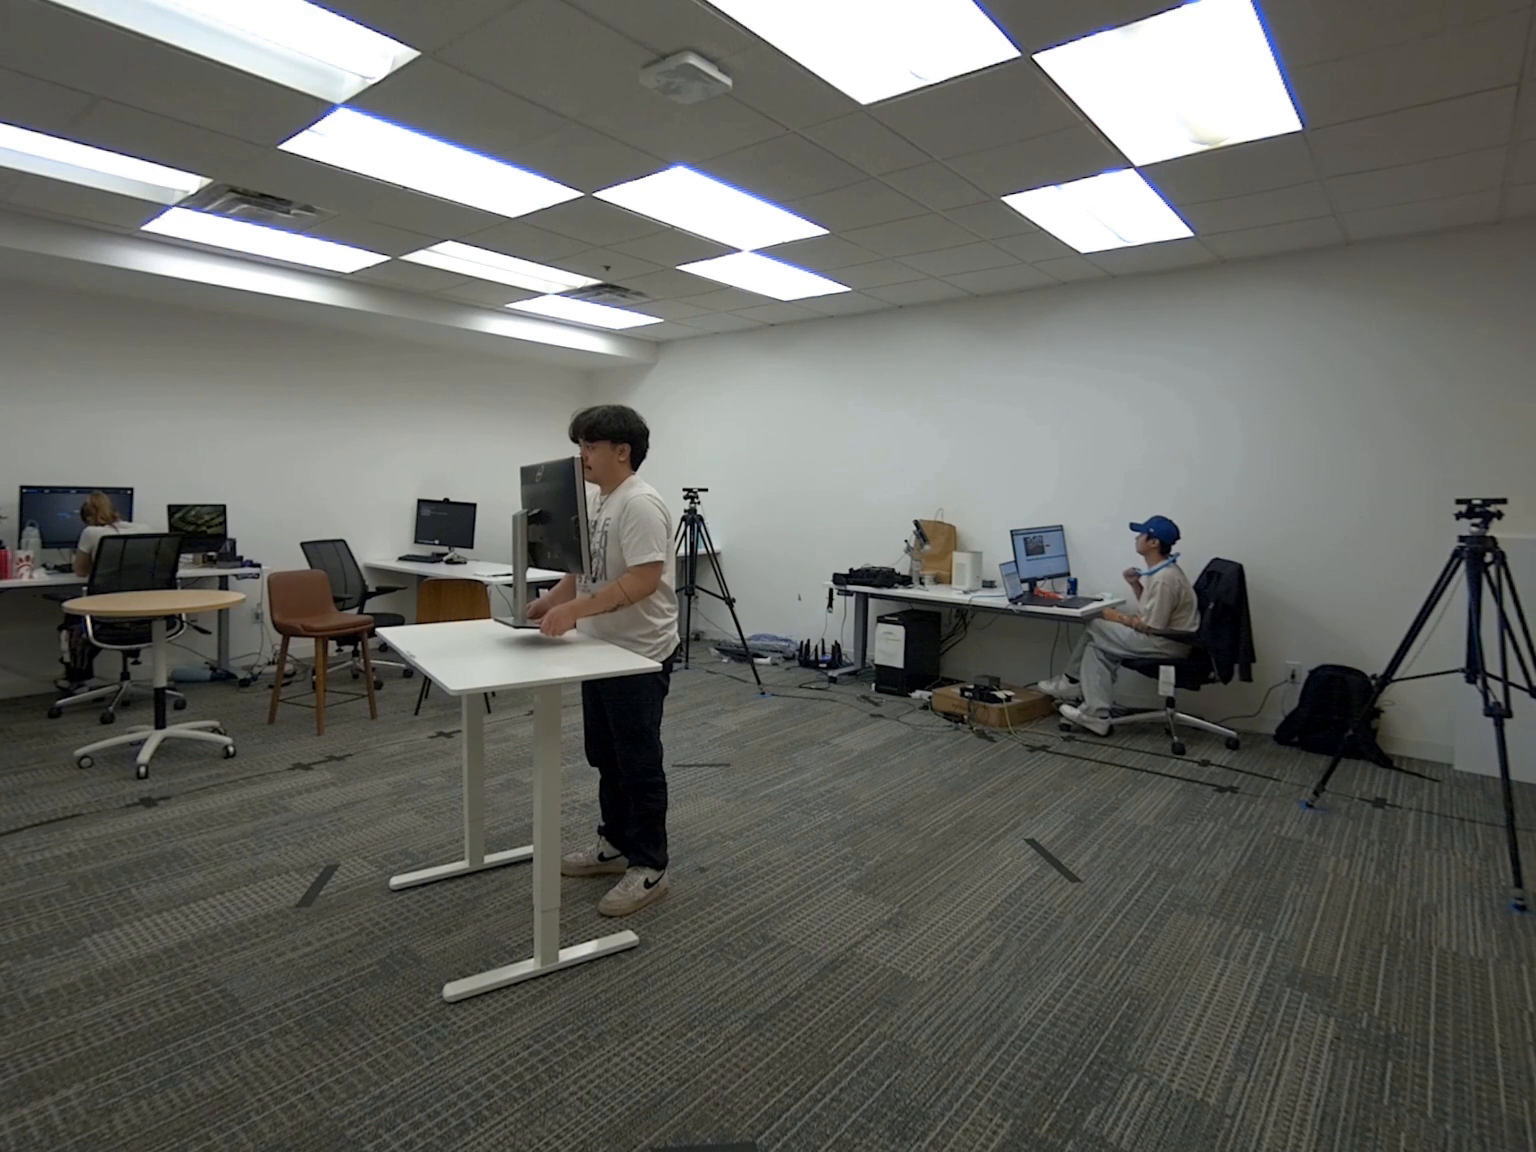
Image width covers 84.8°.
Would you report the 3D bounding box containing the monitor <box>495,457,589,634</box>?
[{"bbox_3d":[-0.773,-0.105,2.760,0.204,0.553,0.582,0,3,-33],"label":"monitor"}]
